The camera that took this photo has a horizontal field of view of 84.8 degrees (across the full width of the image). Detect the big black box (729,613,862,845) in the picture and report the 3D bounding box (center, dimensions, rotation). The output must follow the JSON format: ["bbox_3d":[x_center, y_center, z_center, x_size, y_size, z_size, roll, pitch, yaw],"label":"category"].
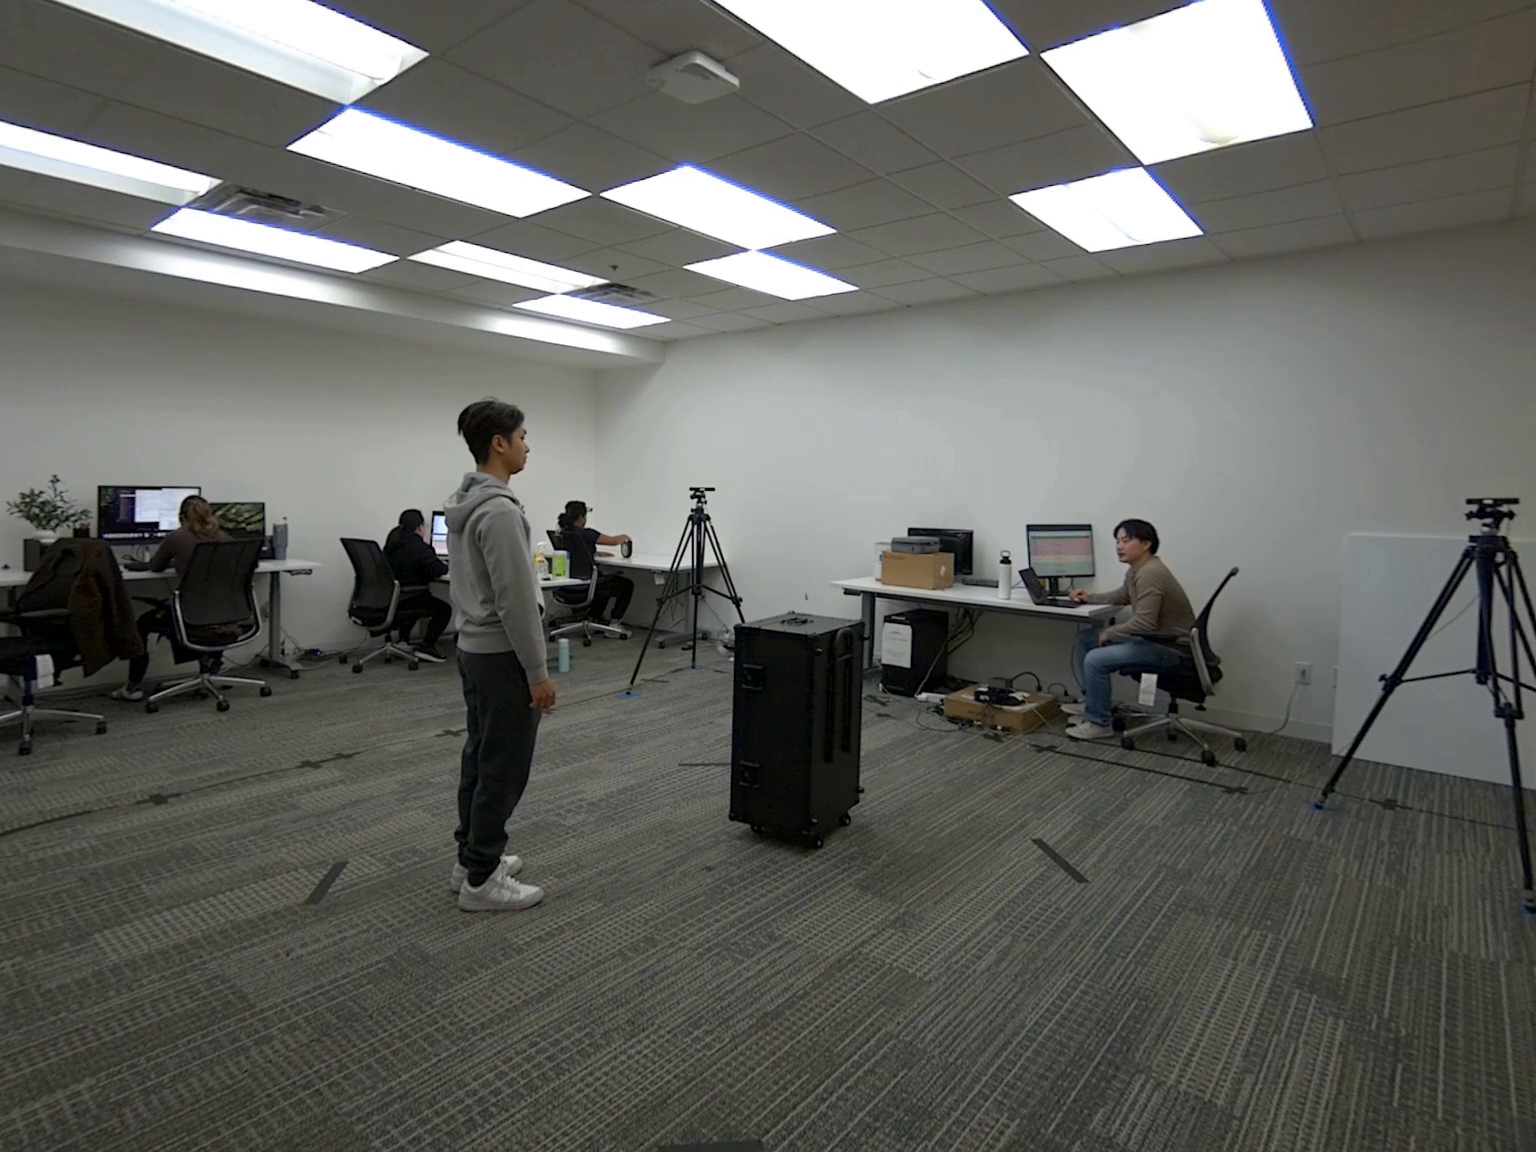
[{"bbox_3d":[0.130,0.613,3.485,0.408,0.859,0.507,4,4,30],"label":"big black box"}]
